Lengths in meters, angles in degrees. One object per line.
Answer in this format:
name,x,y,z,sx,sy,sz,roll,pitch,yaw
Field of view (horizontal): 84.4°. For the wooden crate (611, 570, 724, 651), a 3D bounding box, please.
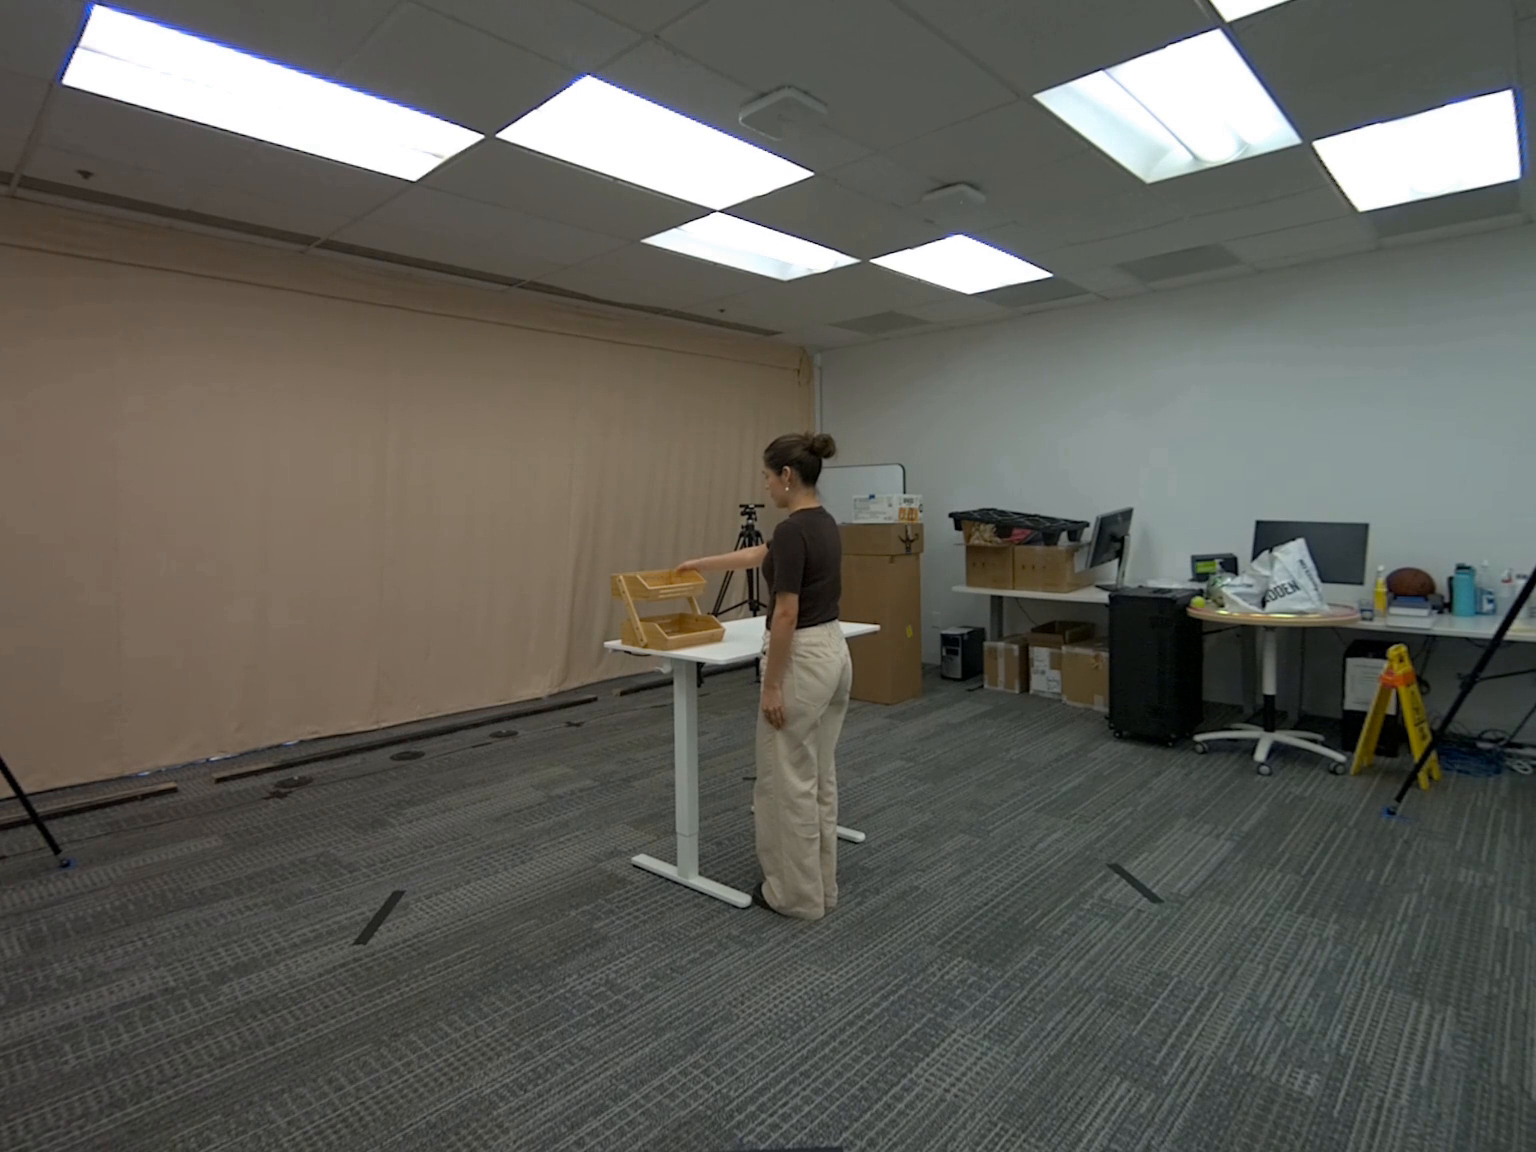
wooden crate,-0.368,0.117,3.140,0.312,0.273,0.314,1,3,41
